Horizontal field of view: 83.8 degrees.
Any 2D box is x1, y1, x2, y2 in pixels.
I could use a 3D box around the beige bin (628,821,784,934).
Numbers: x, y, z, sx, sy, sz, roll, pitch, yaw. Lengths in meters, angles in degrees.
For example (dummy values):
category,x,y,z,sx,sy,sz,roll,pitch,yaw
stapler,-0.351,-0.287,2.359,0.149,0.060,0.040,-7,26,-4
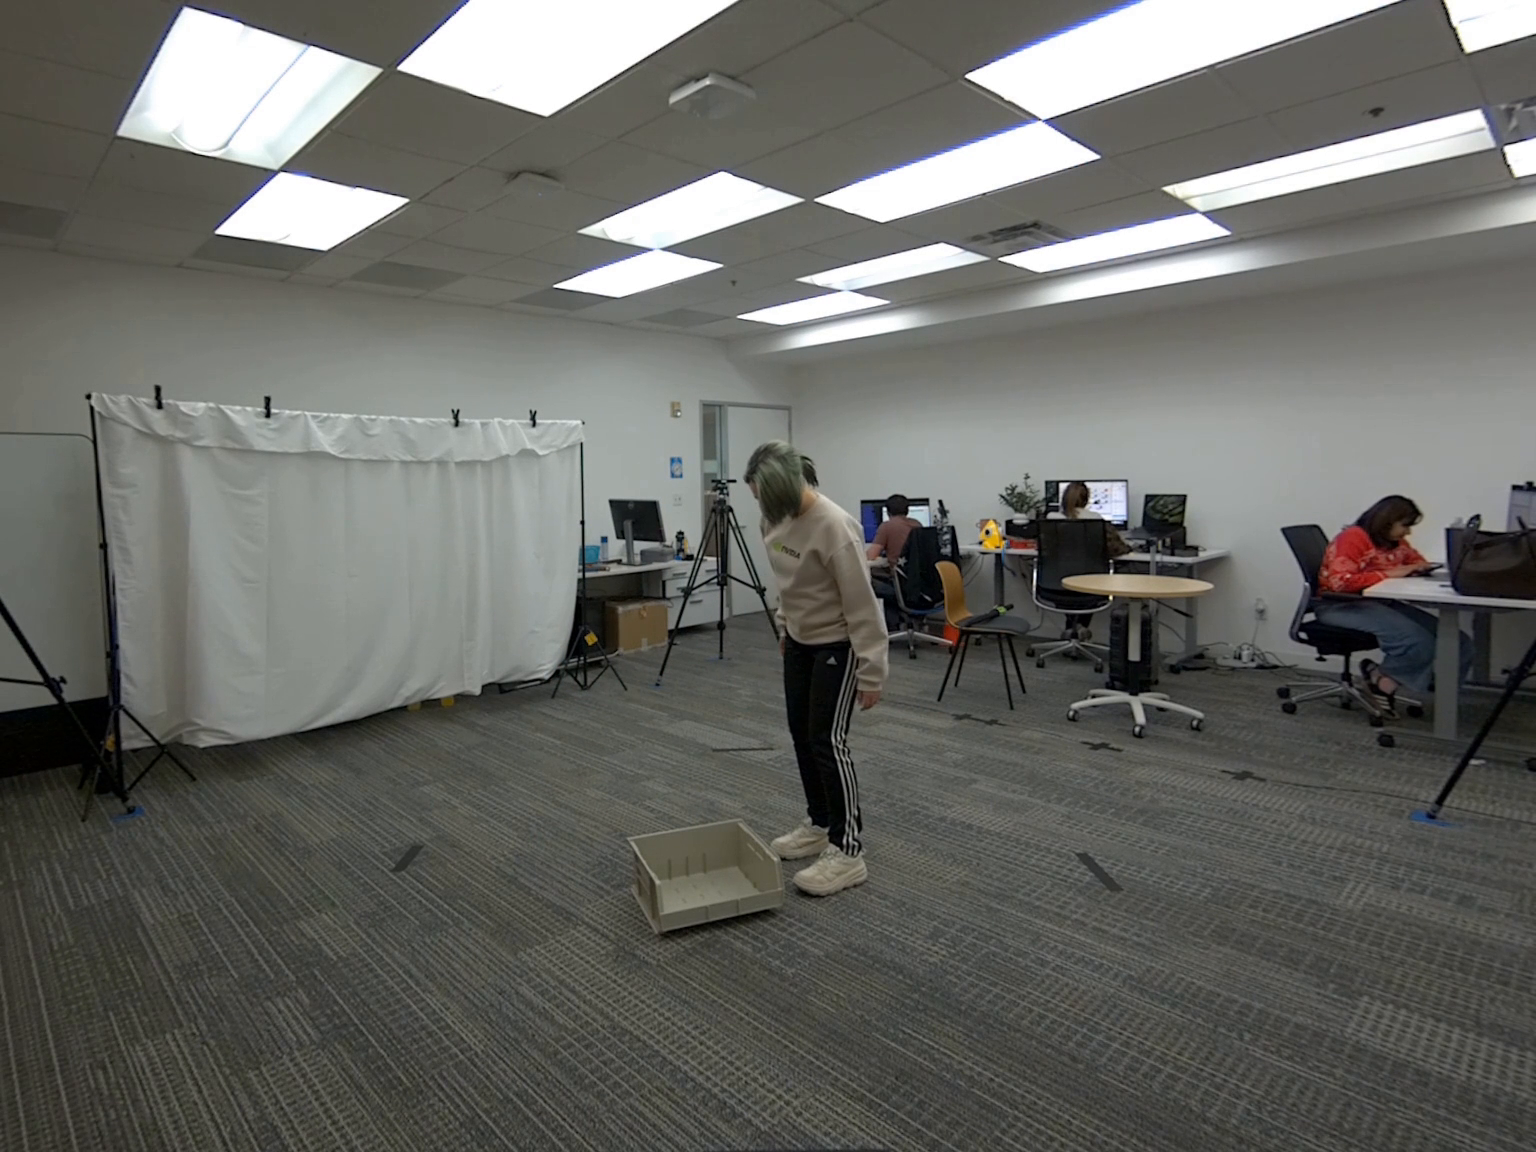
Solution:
category,x,y,z,sx,sy,sz,roll,pitch,yaw
beige bin,-0.209,0.995,2.823,0.414,0.188,0.386,-4,6,-22
